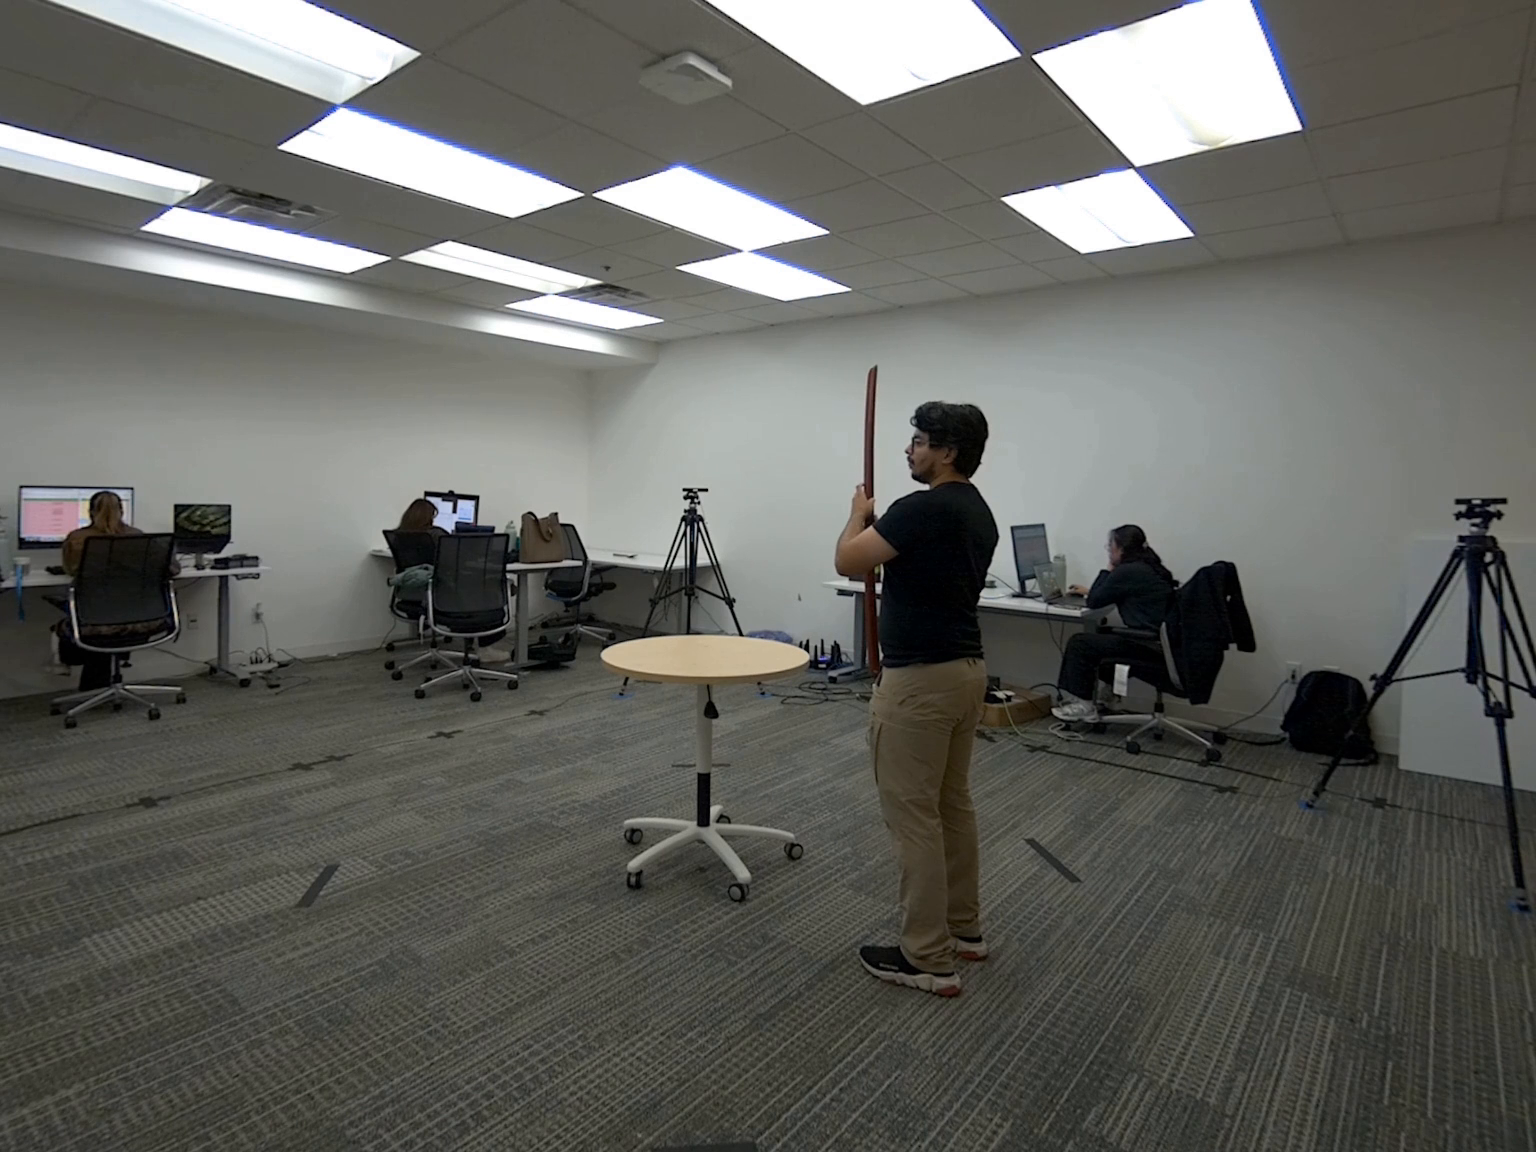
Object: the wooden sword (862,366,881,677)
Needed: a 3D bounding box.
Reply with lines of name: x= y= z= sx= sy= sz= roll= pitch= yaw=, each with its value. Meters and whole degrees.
wooden sword: x=0.336 y=-0.207 z=2.761 sx=0.024 sy=1.034 sz=0.050 roll=1 pitch=-10 yaw=11
